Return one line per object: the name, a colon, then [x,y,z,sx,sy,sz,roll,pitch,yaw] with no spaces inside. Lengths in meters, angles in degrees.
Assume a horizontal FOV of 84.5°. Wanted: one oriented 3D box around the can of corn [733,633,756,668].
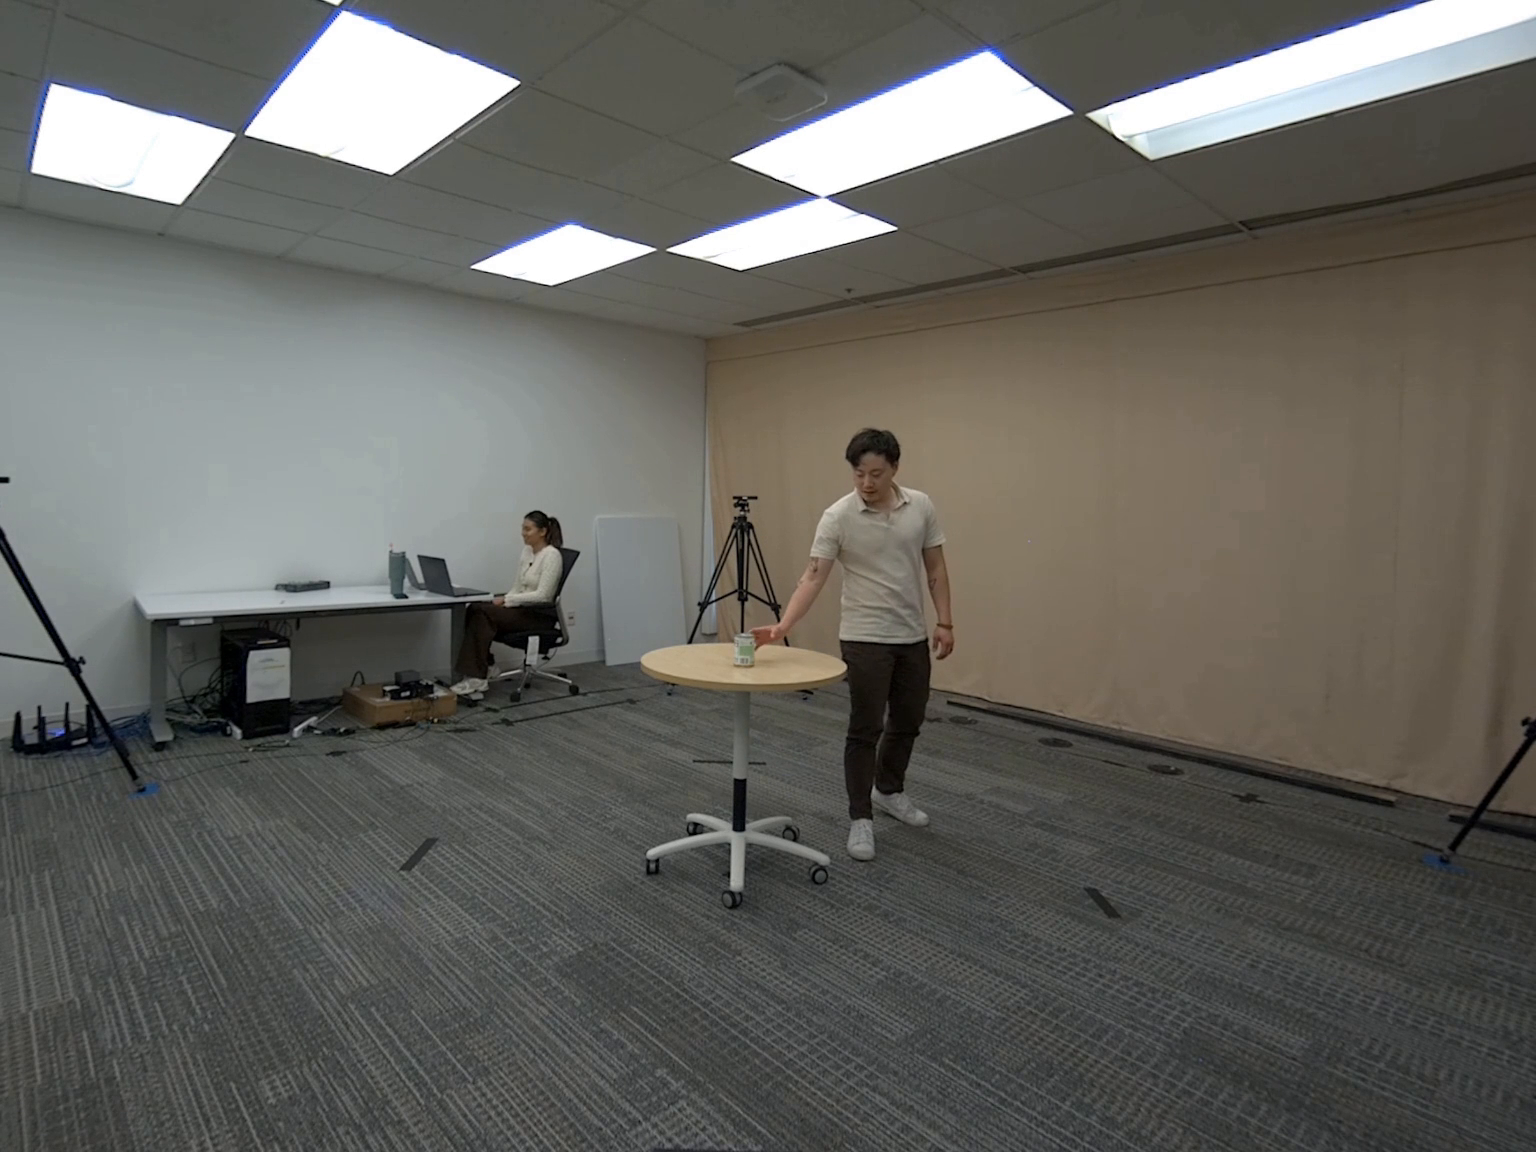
can of corn: [-0.092,0.271,3.046,0.074,0.111,0.074,2,4,-2]
